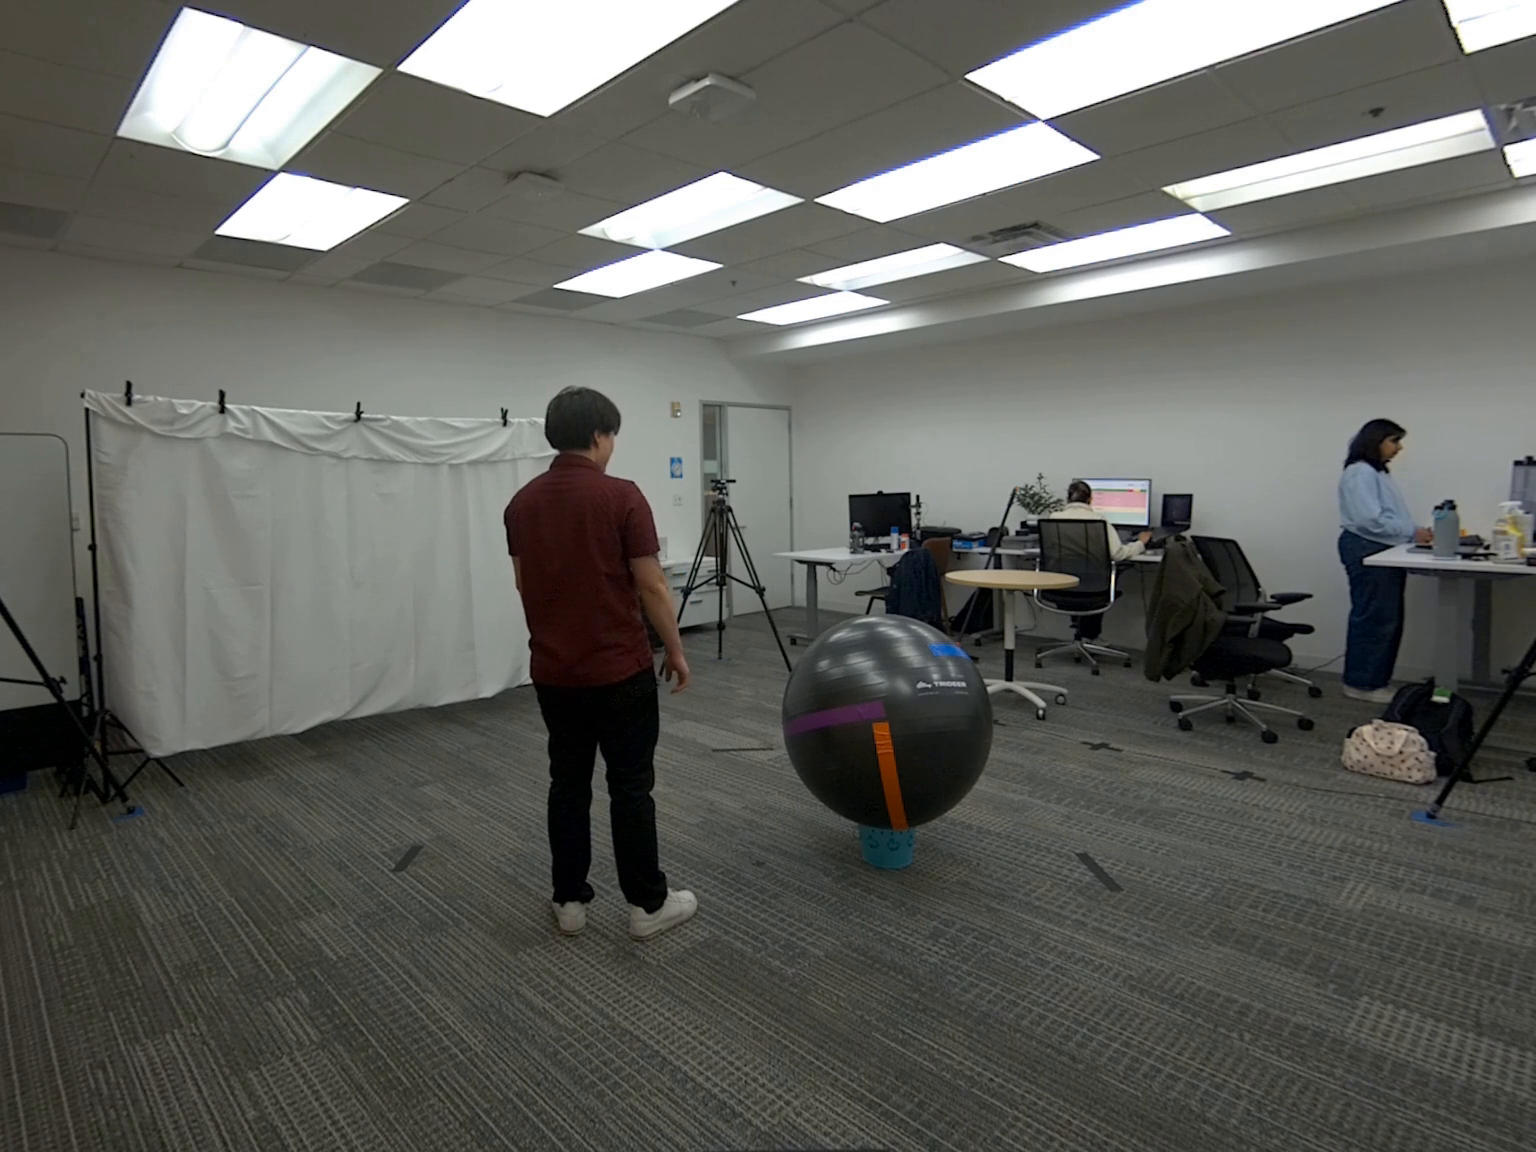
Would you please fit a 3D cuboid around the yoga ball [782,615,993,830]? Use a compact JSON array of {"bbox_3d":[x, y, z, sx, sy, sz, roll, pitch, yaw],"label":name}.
[{"bbox_3d":[0.430,0.526,3.124,0.757,0.755,0.762,-1,5,-2],"label":"yoga ball"}]
